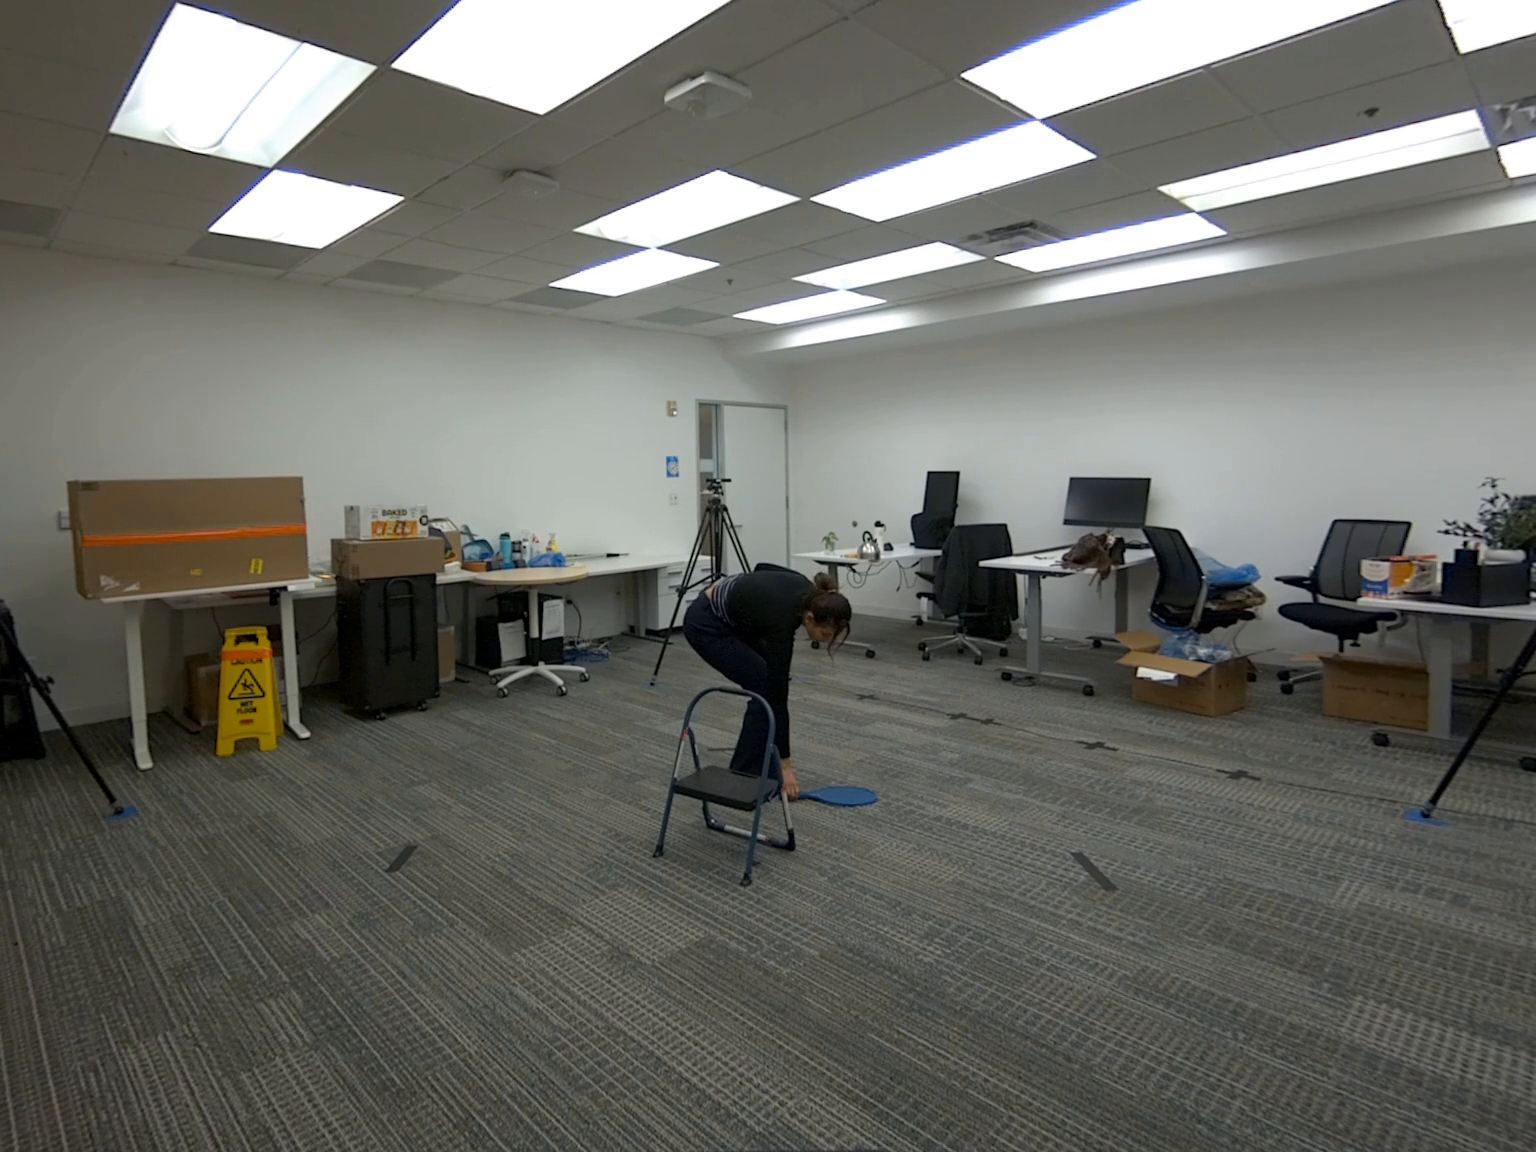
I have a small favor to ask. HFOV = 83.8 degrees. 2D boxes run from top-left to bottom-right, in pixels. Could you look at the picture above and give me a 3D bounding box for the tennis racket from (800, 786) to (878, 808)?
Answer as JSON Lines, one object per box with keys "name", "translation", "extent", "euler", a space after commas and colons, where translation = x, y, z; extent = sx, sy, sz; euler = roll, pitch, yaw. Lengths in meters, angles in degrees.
{"name": "tennis racket", "translation": [0.263, 0.950, 3.722], "extent": [0.430, 0.031, 0.216], "euler": [1, 6, -7]}
